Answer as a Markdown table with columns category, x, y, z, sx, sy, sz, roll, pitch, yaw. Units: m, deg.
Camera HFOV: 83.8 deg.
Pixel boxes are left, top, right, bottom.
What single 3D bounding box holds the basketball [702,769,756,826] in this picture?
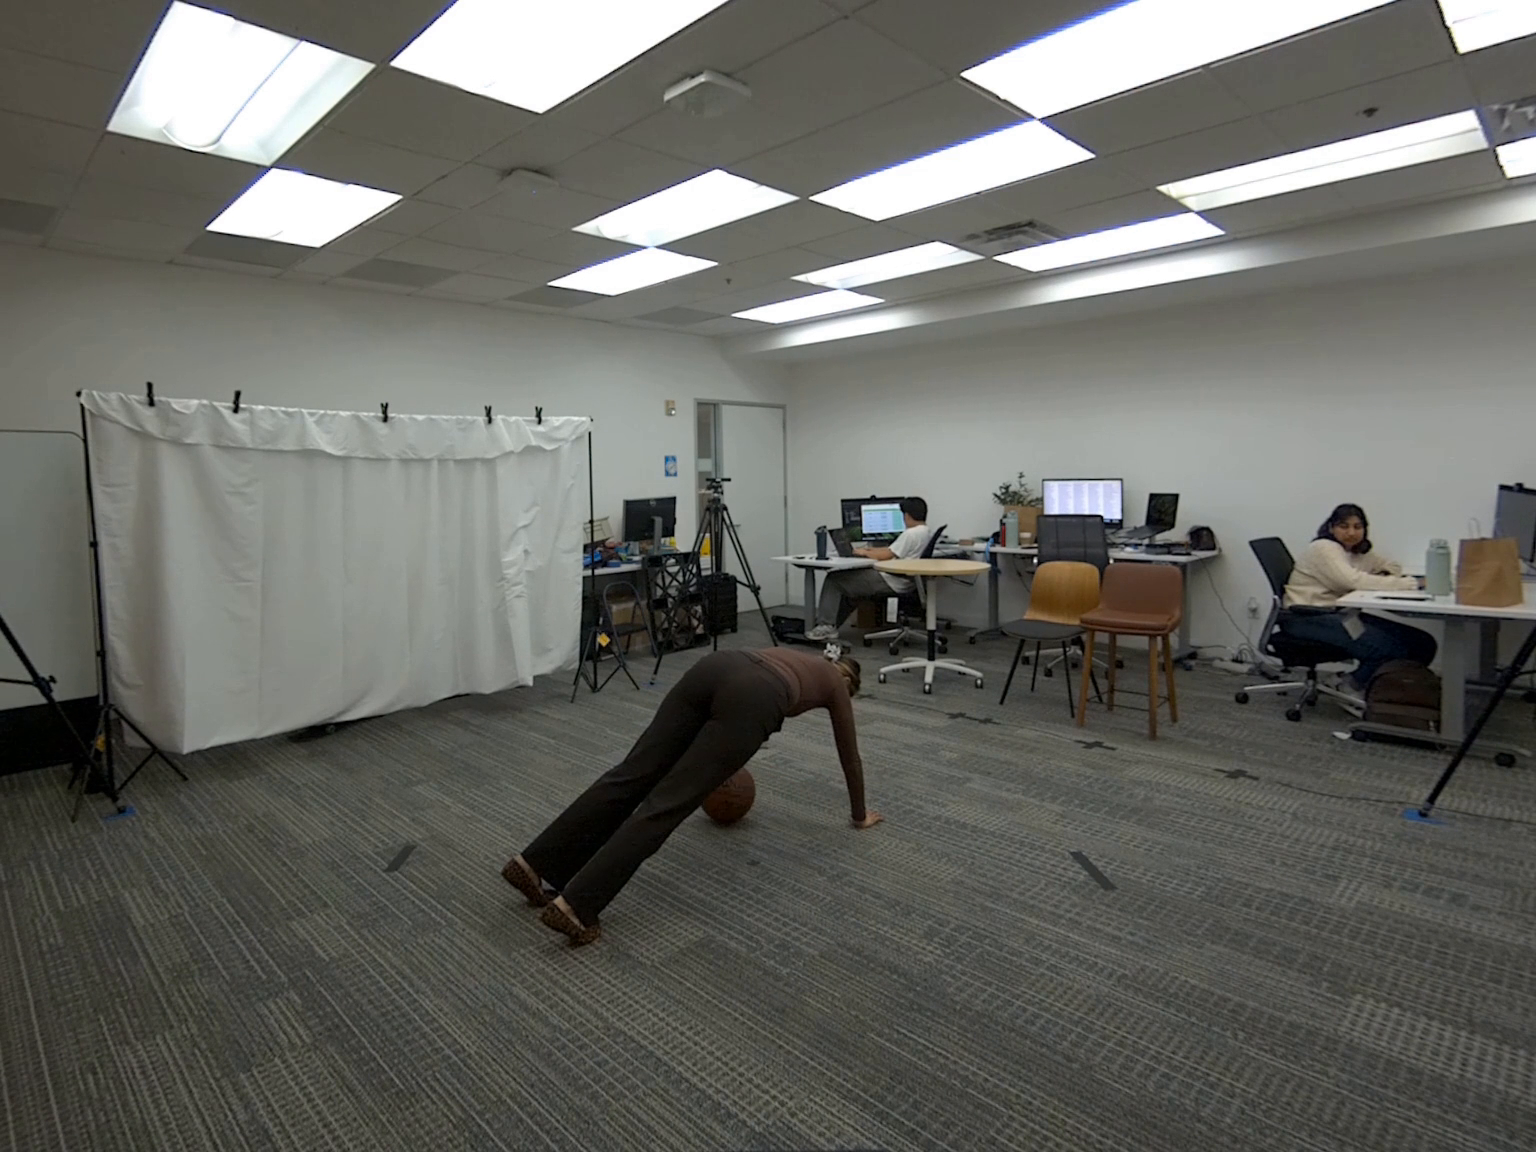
| category | x | y | z | sx | sy | sz | roll | pitch | yaw |
| --- | --- | --- | --- | --- | --- | --- | --- | --- | --- |
| basketball | -0.168 | 0.881 | 3.498 | 0.236 | 0.235 | 0.237 | -1 | 5 | -2 |
